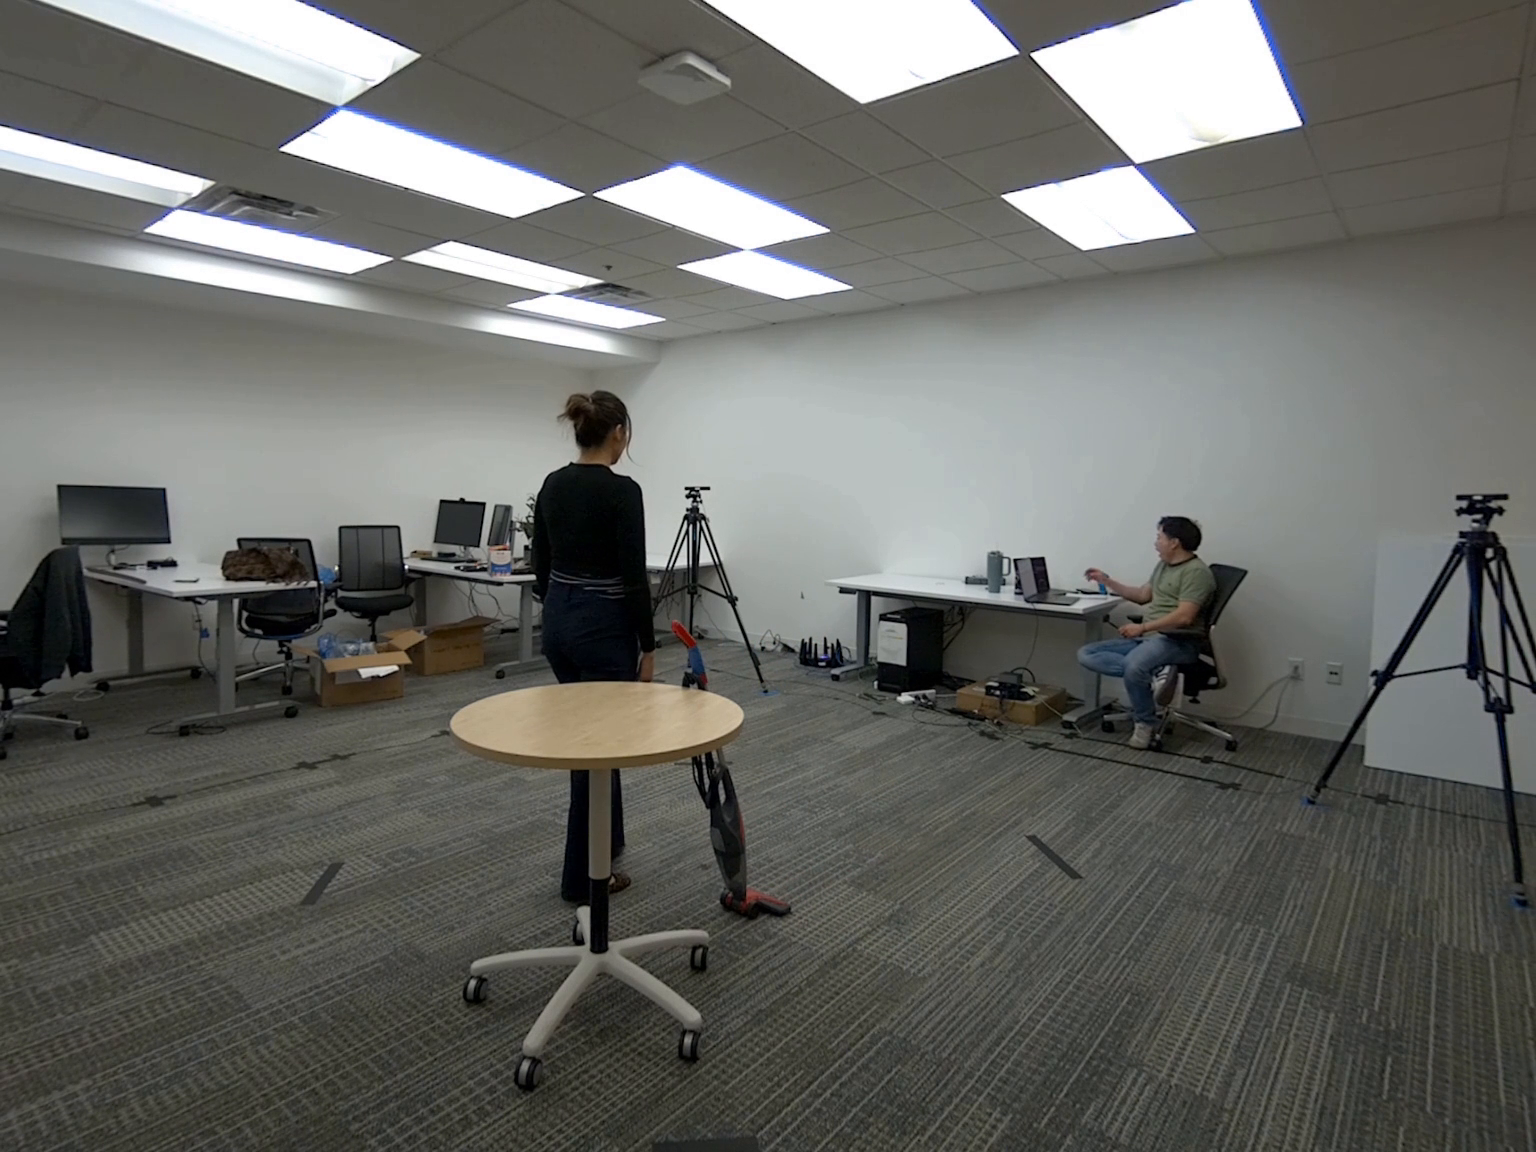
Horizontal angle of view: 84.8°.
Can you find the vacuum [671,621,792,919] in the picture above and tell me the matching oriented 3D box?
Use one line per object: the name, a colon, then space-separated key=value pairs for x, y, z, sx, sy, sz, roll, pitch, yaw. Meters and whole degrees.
vacuum: x=-0.173 y=0.620 z=2.659 sx=0.261 sy=1.027 sz=0.142 roll=5 pitch=25 yaw=42
